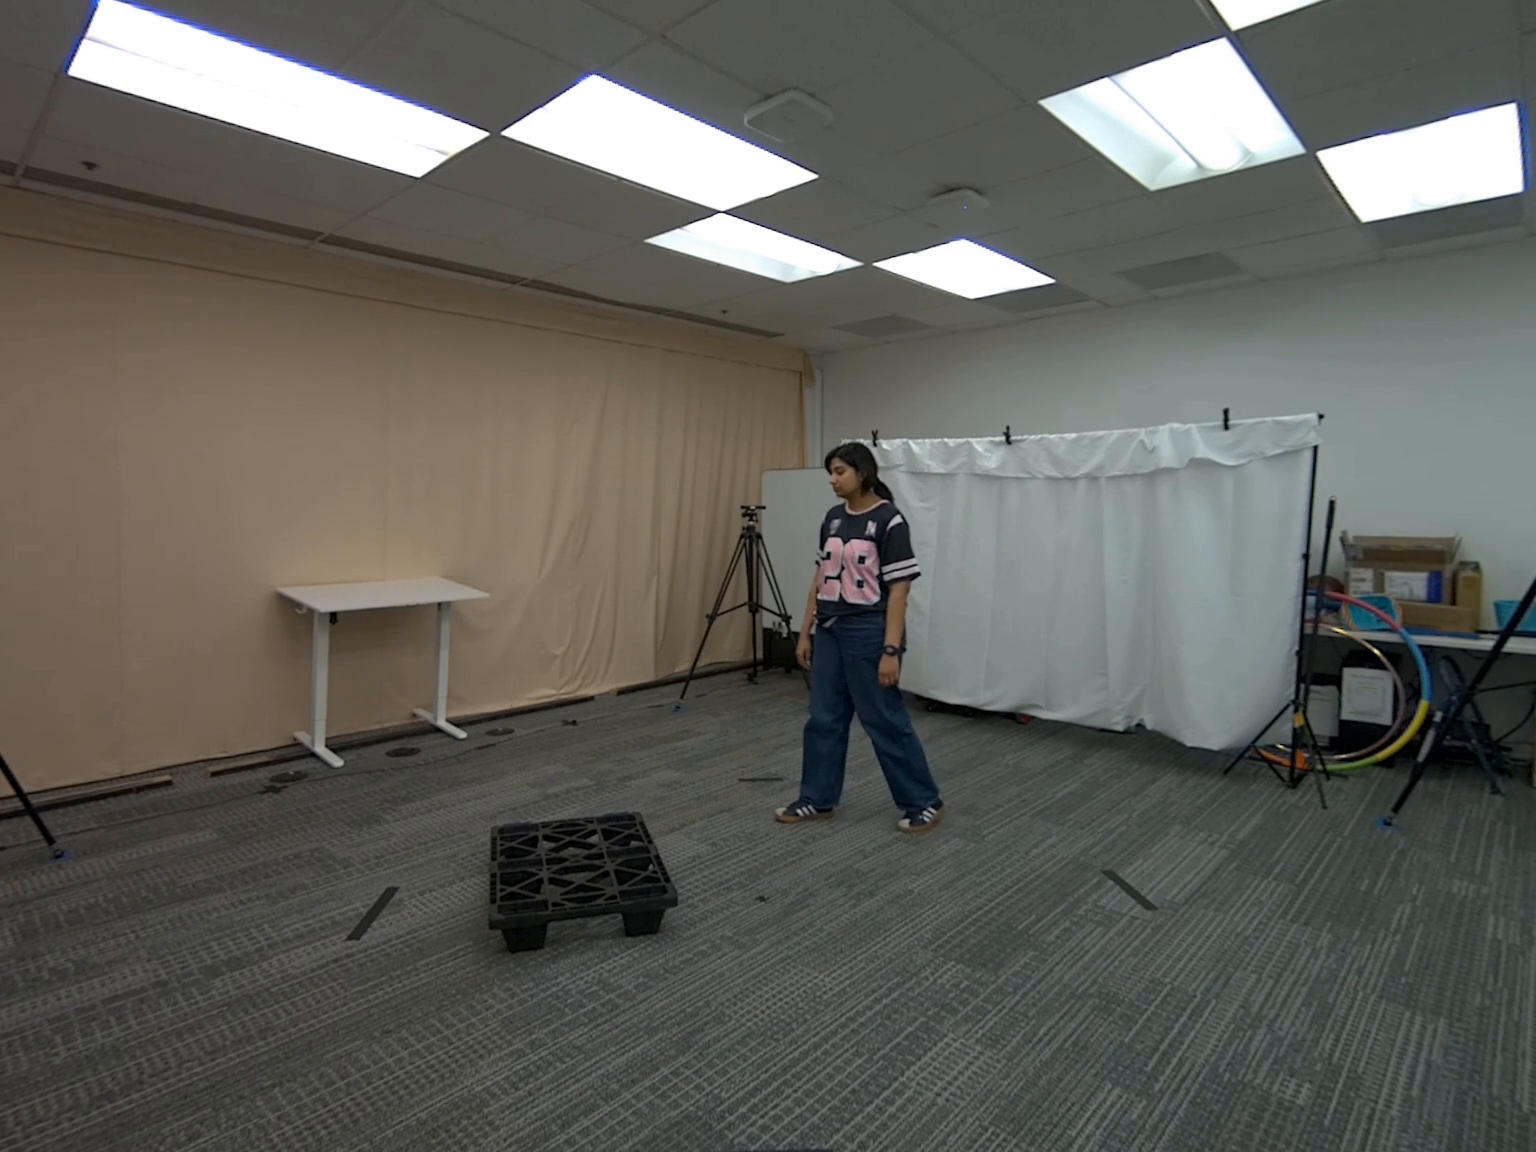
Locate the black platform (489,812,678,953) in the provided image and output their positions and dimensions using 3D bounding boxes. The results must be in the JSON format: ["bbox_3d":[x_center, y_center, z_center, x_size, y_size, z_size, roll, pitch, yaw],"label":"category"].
[{"bbox_3d":[-0.690,1.078,3.037,0.595,0.143,0.821,-1,5,-16],"label":"black platform"}]
